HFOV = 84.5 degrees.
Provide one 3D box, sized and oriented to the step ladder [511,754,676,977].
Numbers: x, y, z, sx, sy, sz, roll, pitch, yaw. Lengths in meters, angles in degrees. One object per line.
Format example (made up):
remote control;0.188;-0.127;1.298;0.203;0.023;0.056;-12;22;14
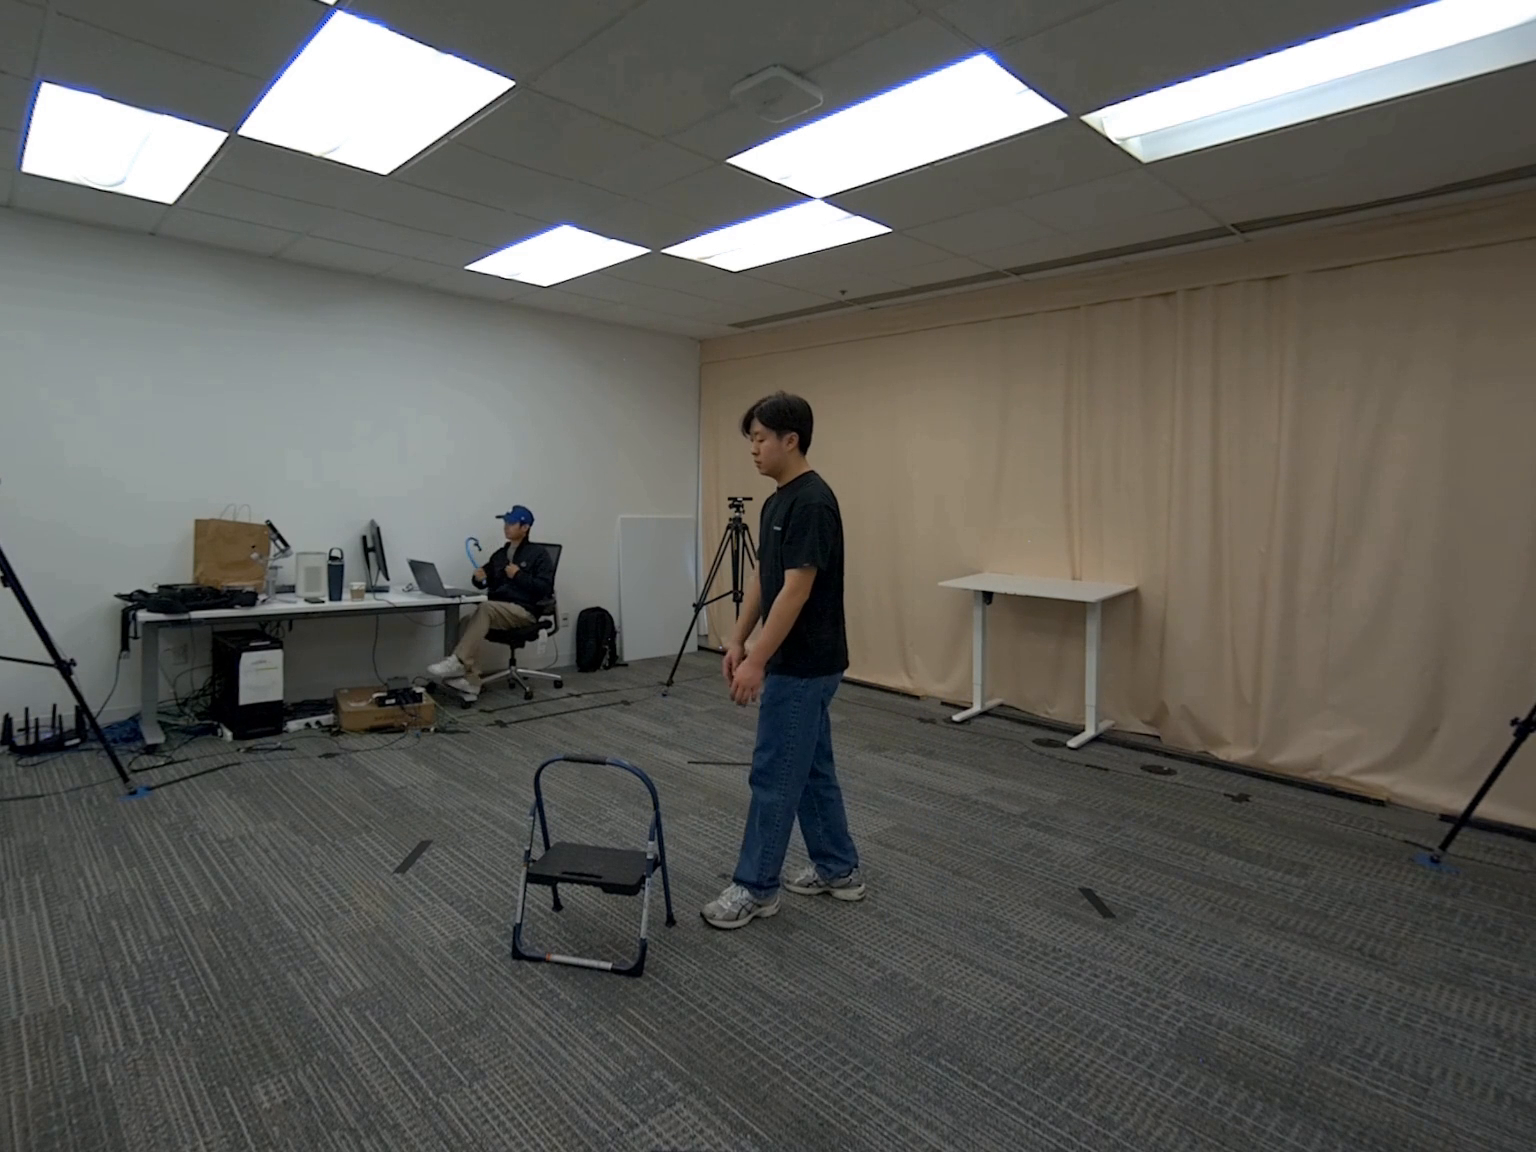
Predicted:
step ladder;-0.540;0.843;2.619;0.434;0.605;0.347;1;3;10
